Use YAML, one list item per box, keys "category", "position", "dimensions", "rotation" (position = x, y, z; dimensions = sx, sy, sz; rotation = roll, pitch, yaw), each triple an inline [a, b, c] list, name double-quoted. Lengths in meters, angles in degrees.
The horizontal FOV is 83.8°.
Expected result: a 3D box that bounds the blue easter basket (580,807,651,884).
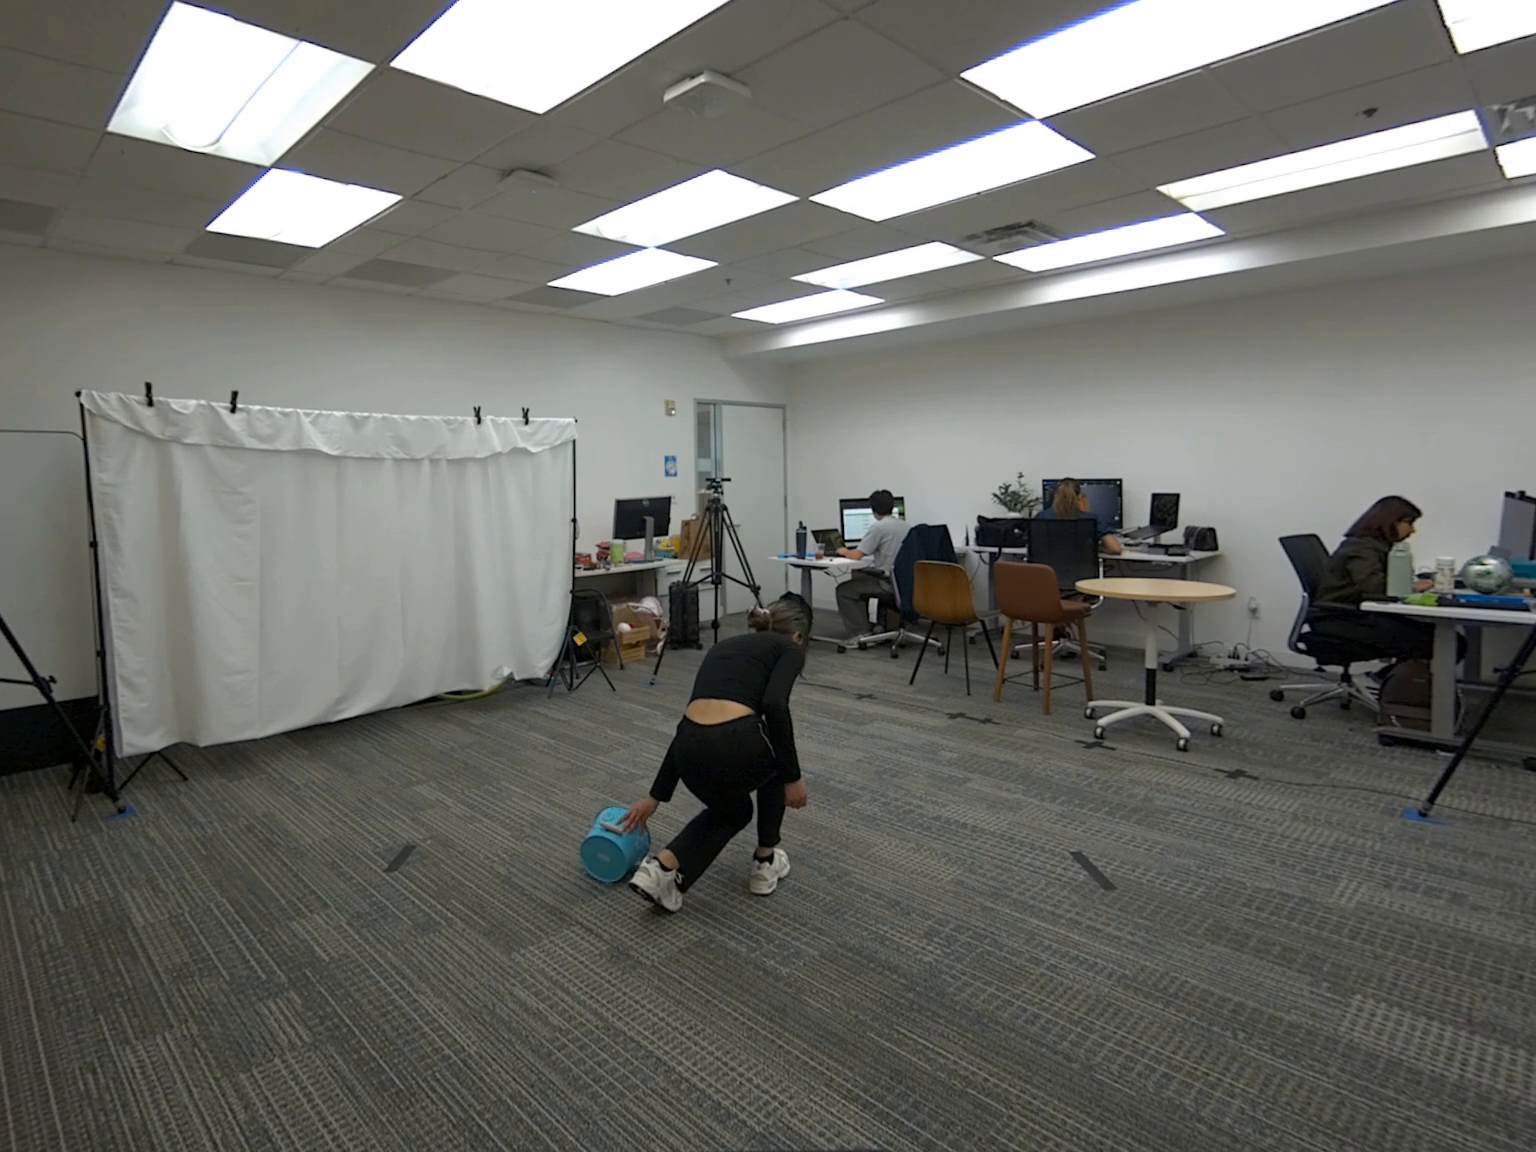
- category: "blue easter basket"
  position: [-0.547, 0.947, 3.044]
  dimensions: [0.248, 0.241, 0.155]
  rotation: [1, 12, 19]
